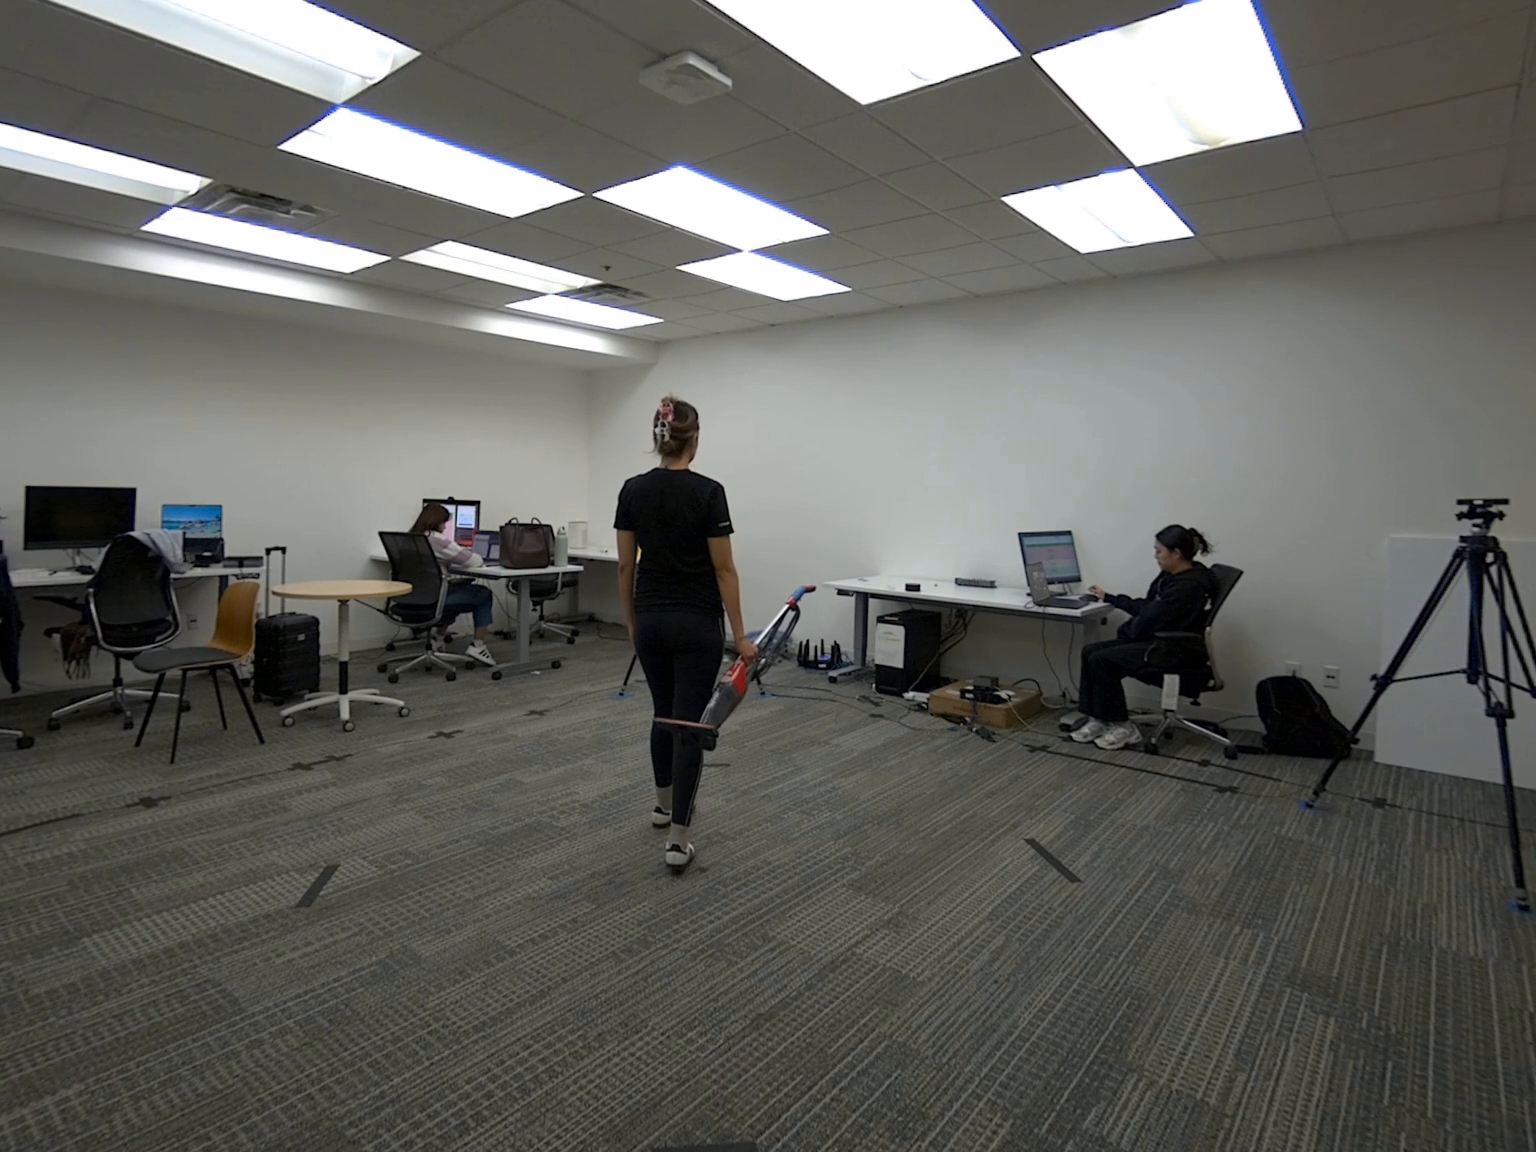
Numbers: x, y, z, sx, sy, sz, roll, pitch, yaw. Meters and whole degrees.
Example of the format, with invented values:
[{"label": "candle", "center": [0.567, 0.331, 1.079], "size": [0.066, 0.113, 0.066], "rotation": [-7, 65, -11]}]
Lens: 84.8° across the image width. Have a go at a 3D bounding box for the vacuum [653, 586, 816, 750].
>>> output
[{"label": "vacuum", "center": [-0.033, 0.301, 3.309], "size": [0.260, 0.140, 1.047], "rotation": [-1, 29, 30]}]
